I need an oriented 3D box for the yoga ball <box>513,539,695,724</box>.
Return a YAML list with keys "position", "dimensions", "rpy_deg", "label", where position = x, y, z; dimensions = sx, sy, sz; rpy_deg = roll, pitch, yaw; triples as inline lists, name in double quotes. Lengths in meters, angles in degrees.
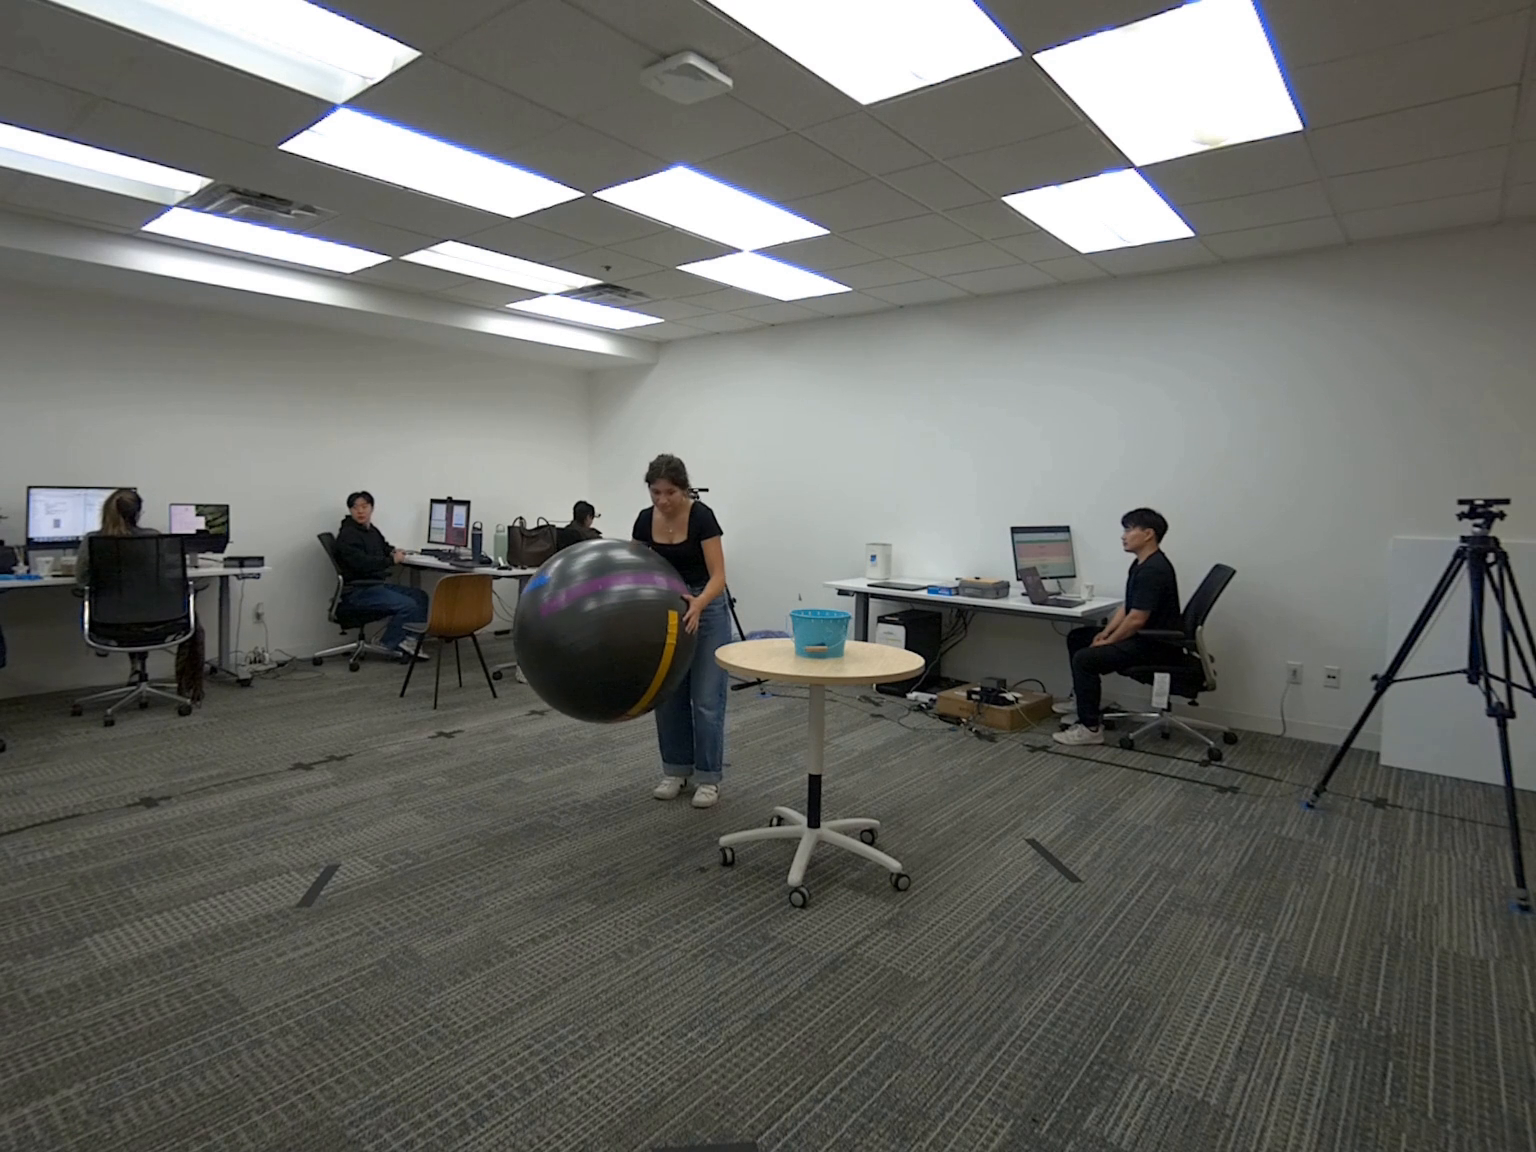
- position: [-0.694, 0.232, 3.530]
  dimensions: [0.757, 0.756, 0.762]
  rpy_deg: [1, 4, -2]
  label: "yoga ball"
